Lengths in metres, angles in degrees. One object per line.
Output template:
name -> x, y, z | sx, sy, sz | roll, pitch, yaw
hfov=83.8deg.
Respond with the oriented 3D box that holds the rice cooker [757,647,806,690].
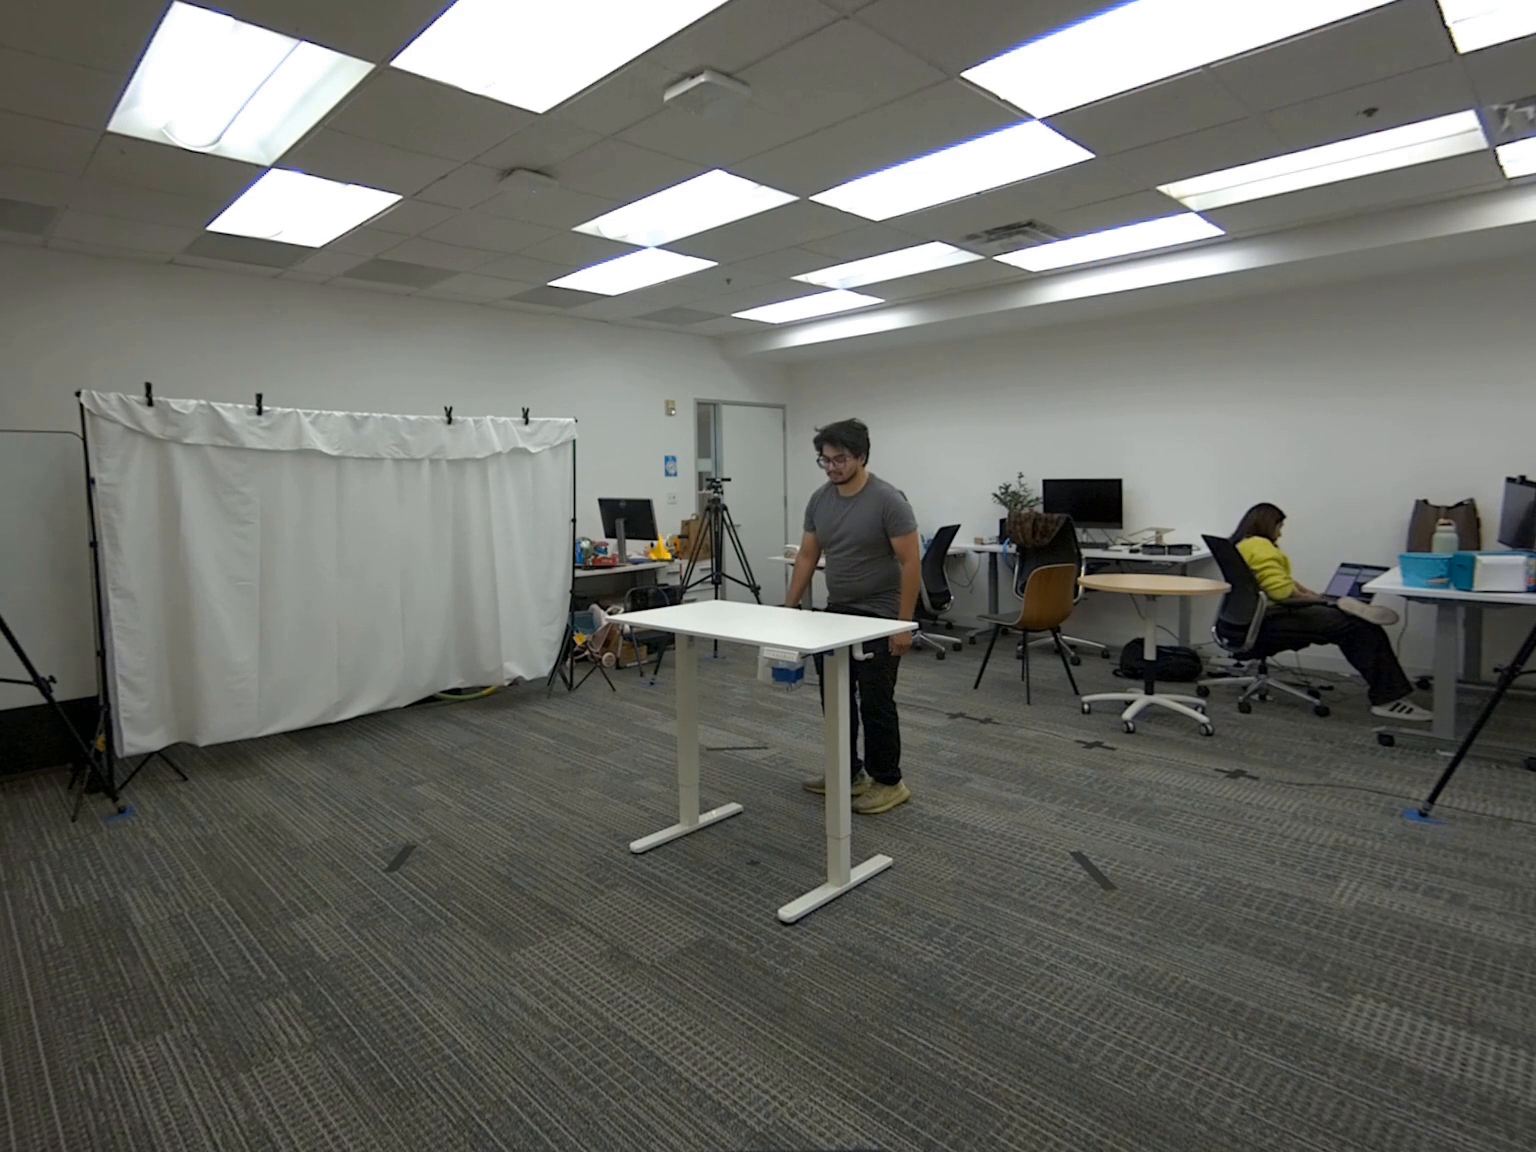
rice cooker -> 0.065, 0.378, 3.784 | 0.223, 0.232, 0.216 | 8, 6, 25
